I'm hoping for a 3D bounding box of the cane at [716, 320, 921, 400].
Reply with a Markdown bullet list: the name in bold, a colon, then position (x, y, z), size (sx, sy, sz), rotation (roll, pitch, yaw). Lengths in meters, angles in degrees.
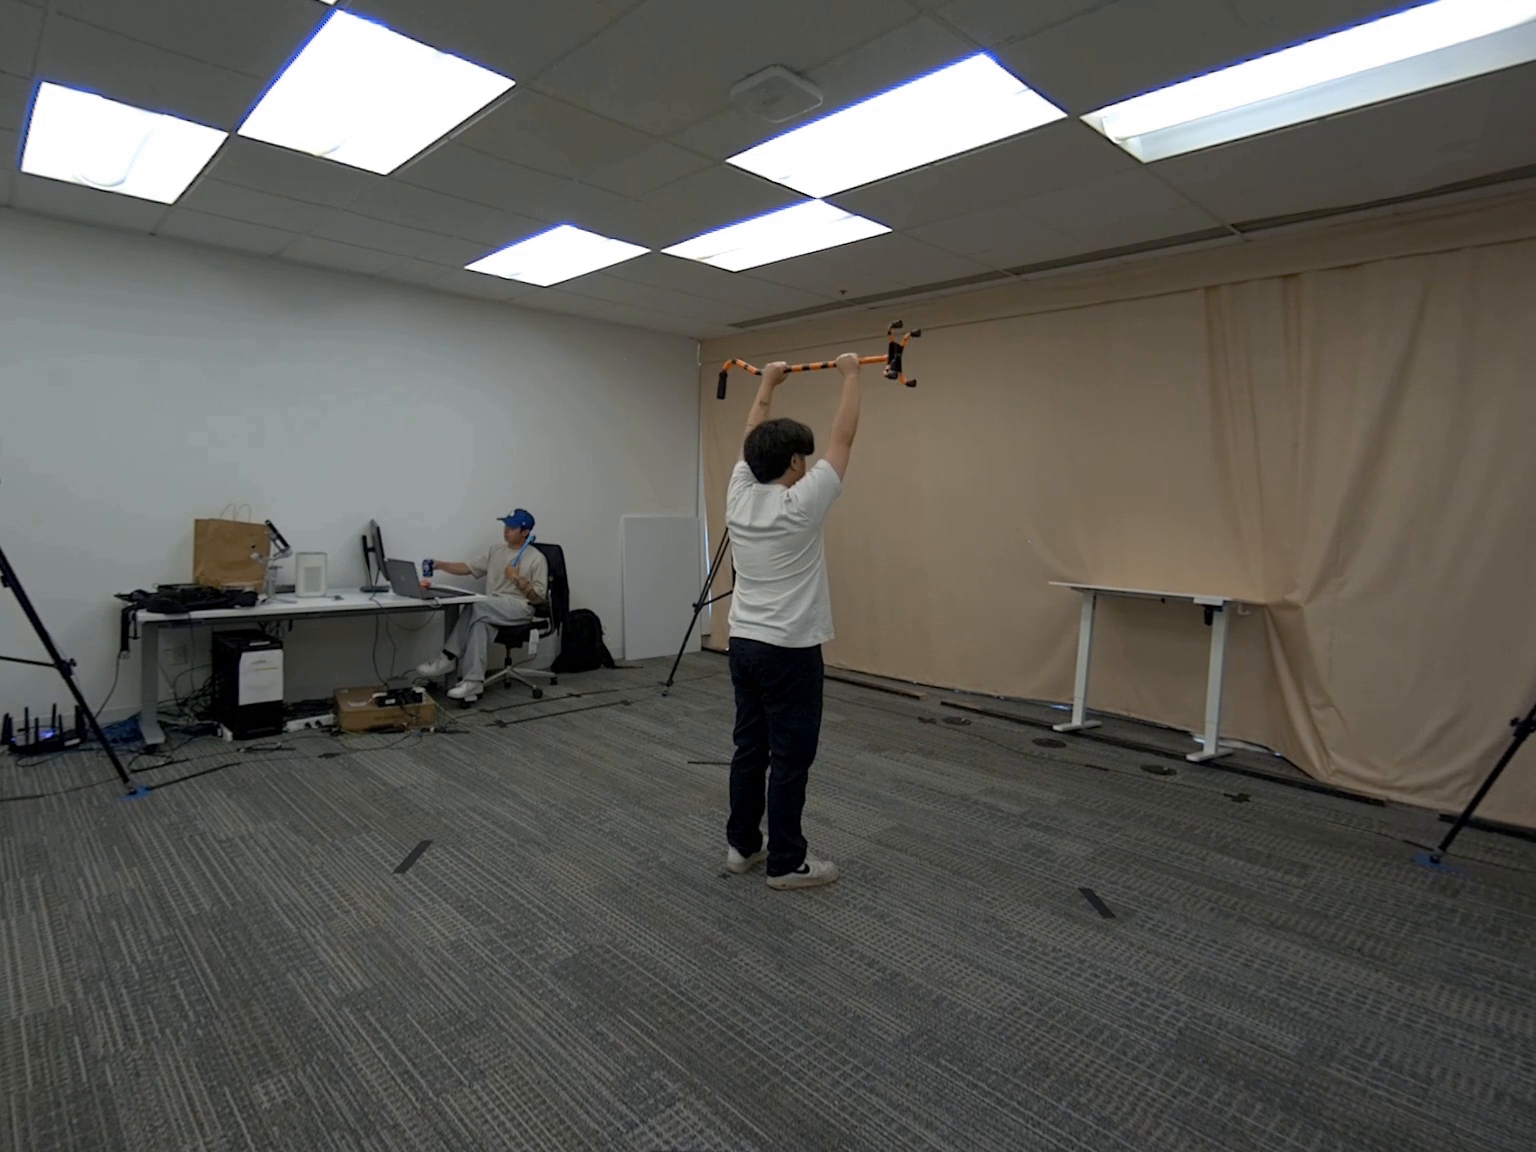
- **cane**: position (0.141, -0.801, 3.217), size (0.931, 0.207, 0.147), rotation (6, -2, 42)
